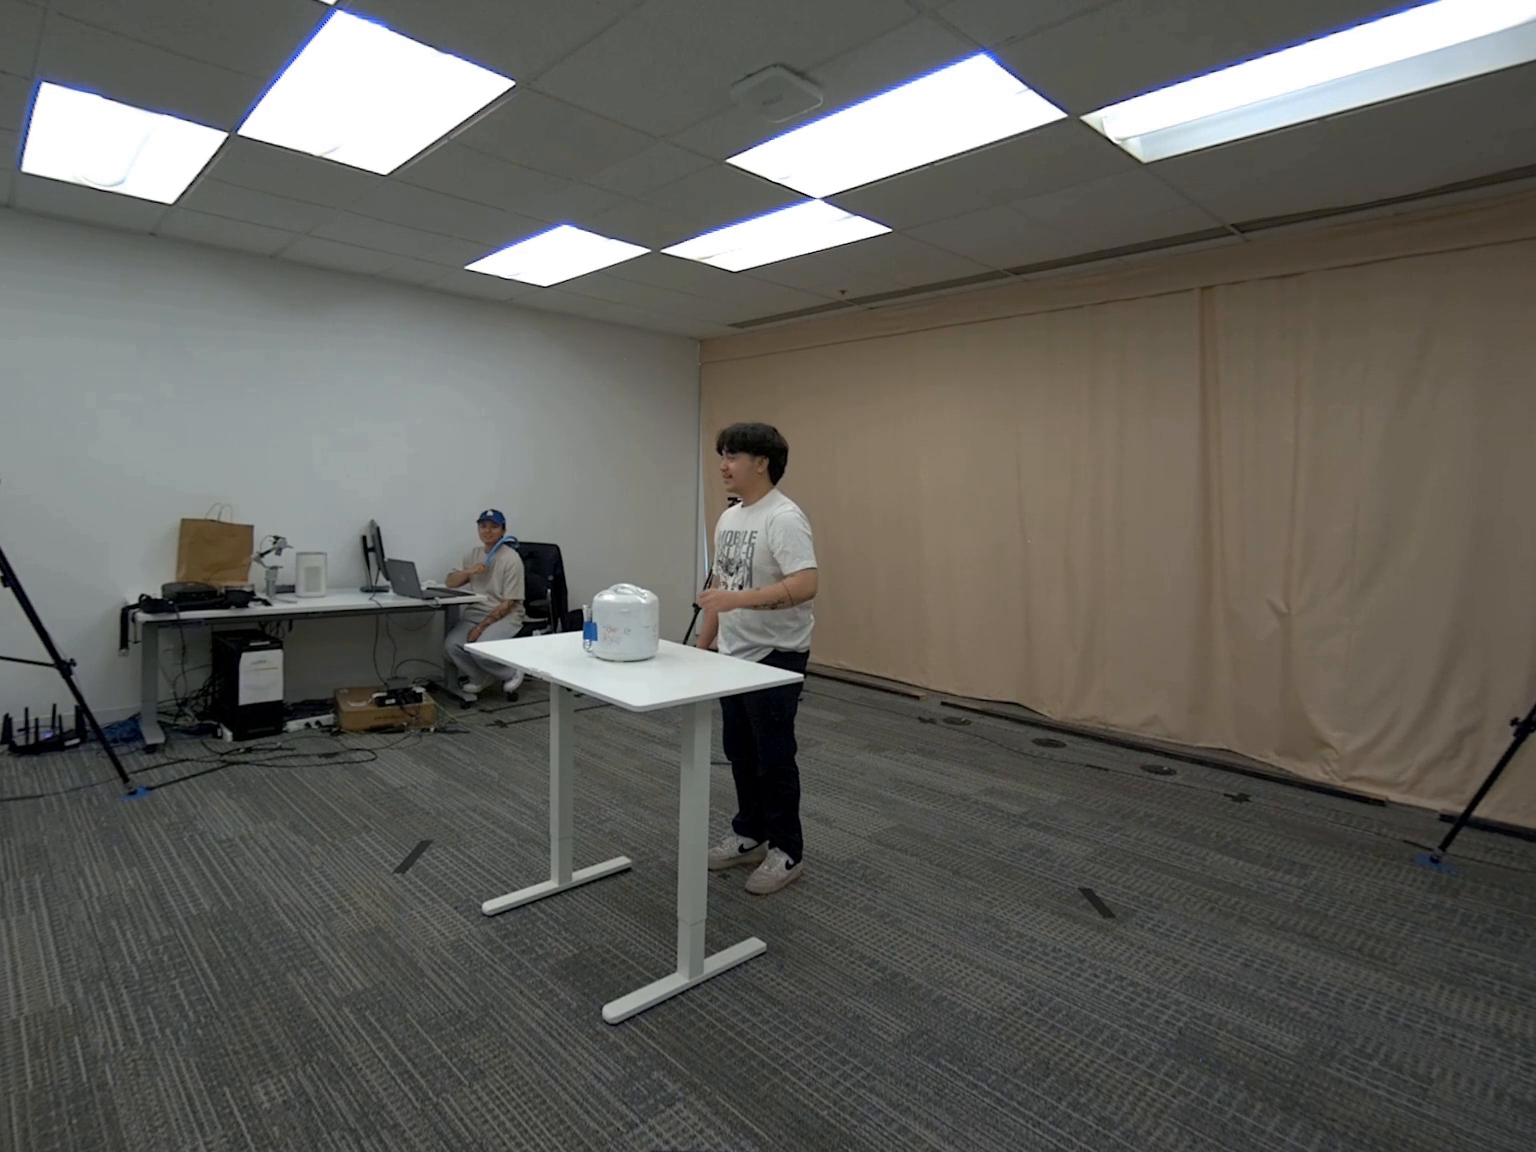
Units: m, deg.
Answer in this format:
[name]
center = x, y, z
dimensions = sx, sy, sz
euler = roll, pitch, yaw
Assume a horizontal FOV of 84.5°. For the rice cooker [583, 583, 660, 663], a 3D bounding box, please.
[rice cooker]
center = -0.460, 0.142, 2.657
dimensions = 0.226, 0.232, 0.212
euler = 7, 8, 45
